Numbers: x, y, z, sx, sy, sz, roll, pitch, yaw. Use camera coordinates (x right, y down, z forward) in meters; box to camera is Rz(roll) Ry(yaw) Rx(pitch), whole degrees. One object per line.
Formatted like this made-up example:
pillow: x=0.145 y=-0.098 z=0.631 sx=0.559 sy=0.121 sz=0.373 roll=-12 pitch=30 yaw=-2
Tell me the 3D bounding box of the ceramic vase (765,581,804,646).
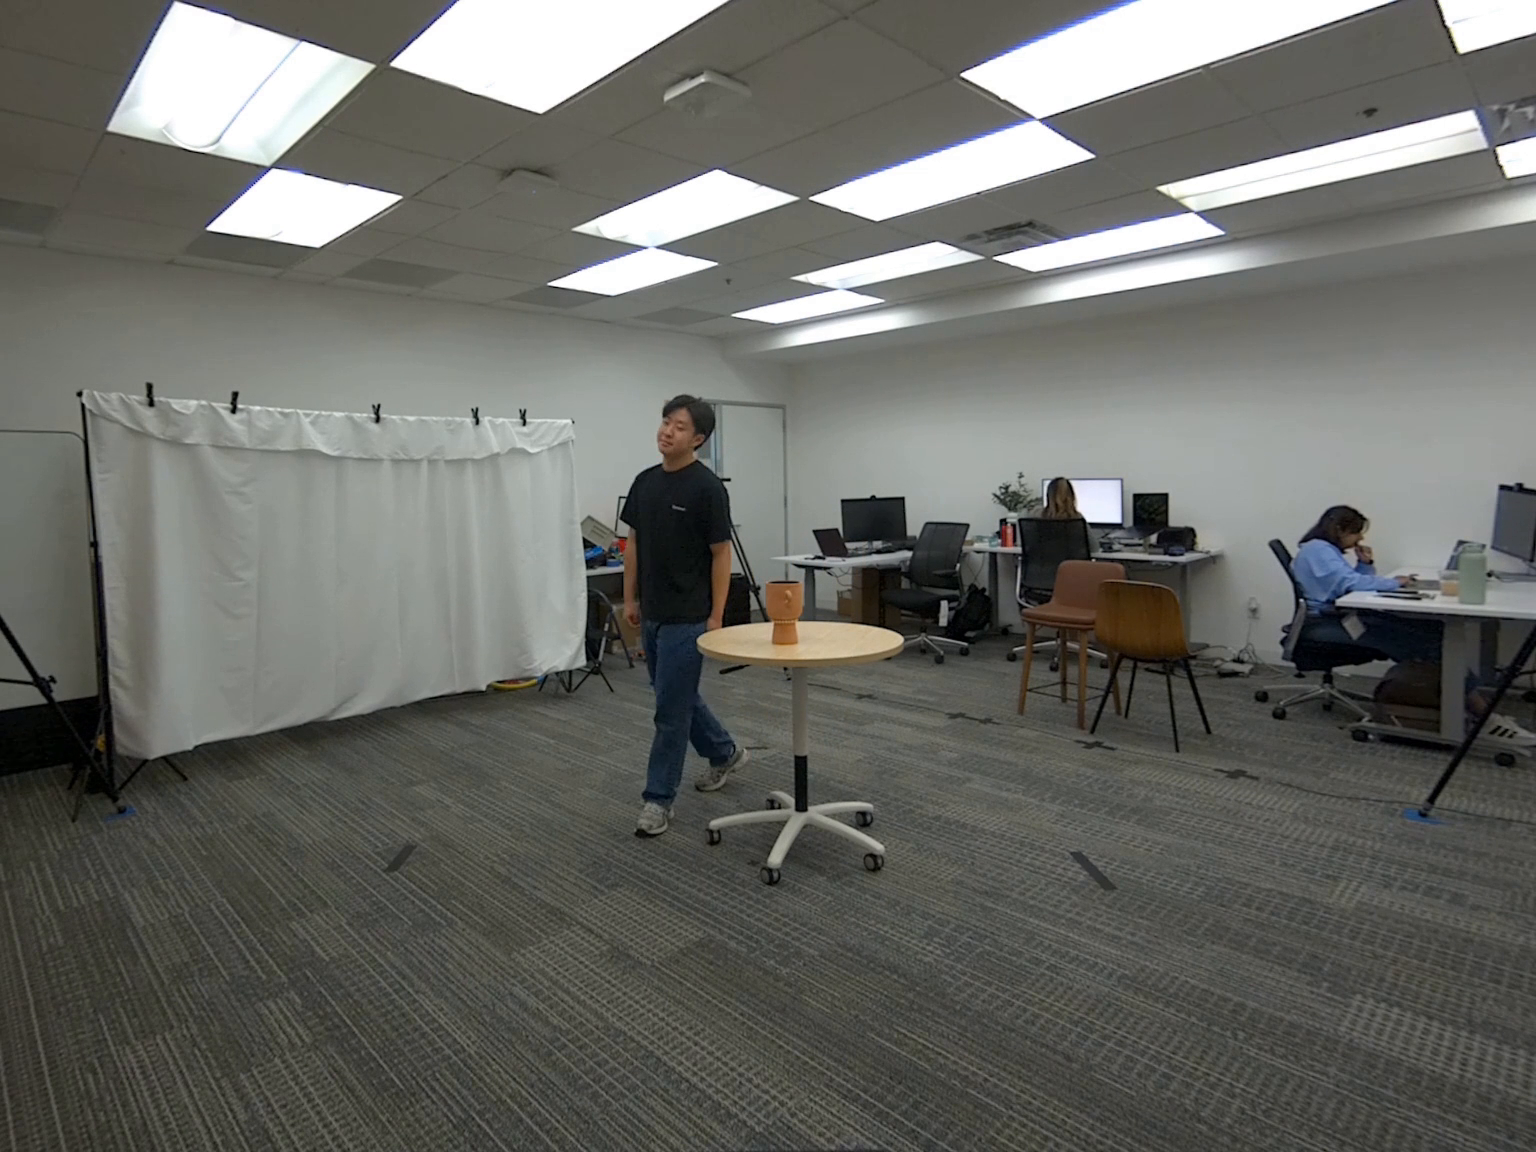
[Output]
ceramic vase: x=0.060 y=0.132 z=3.107 sx=0.138 sy=0.219 sz=0.155 roll=0 pitch=4 yaw=29
